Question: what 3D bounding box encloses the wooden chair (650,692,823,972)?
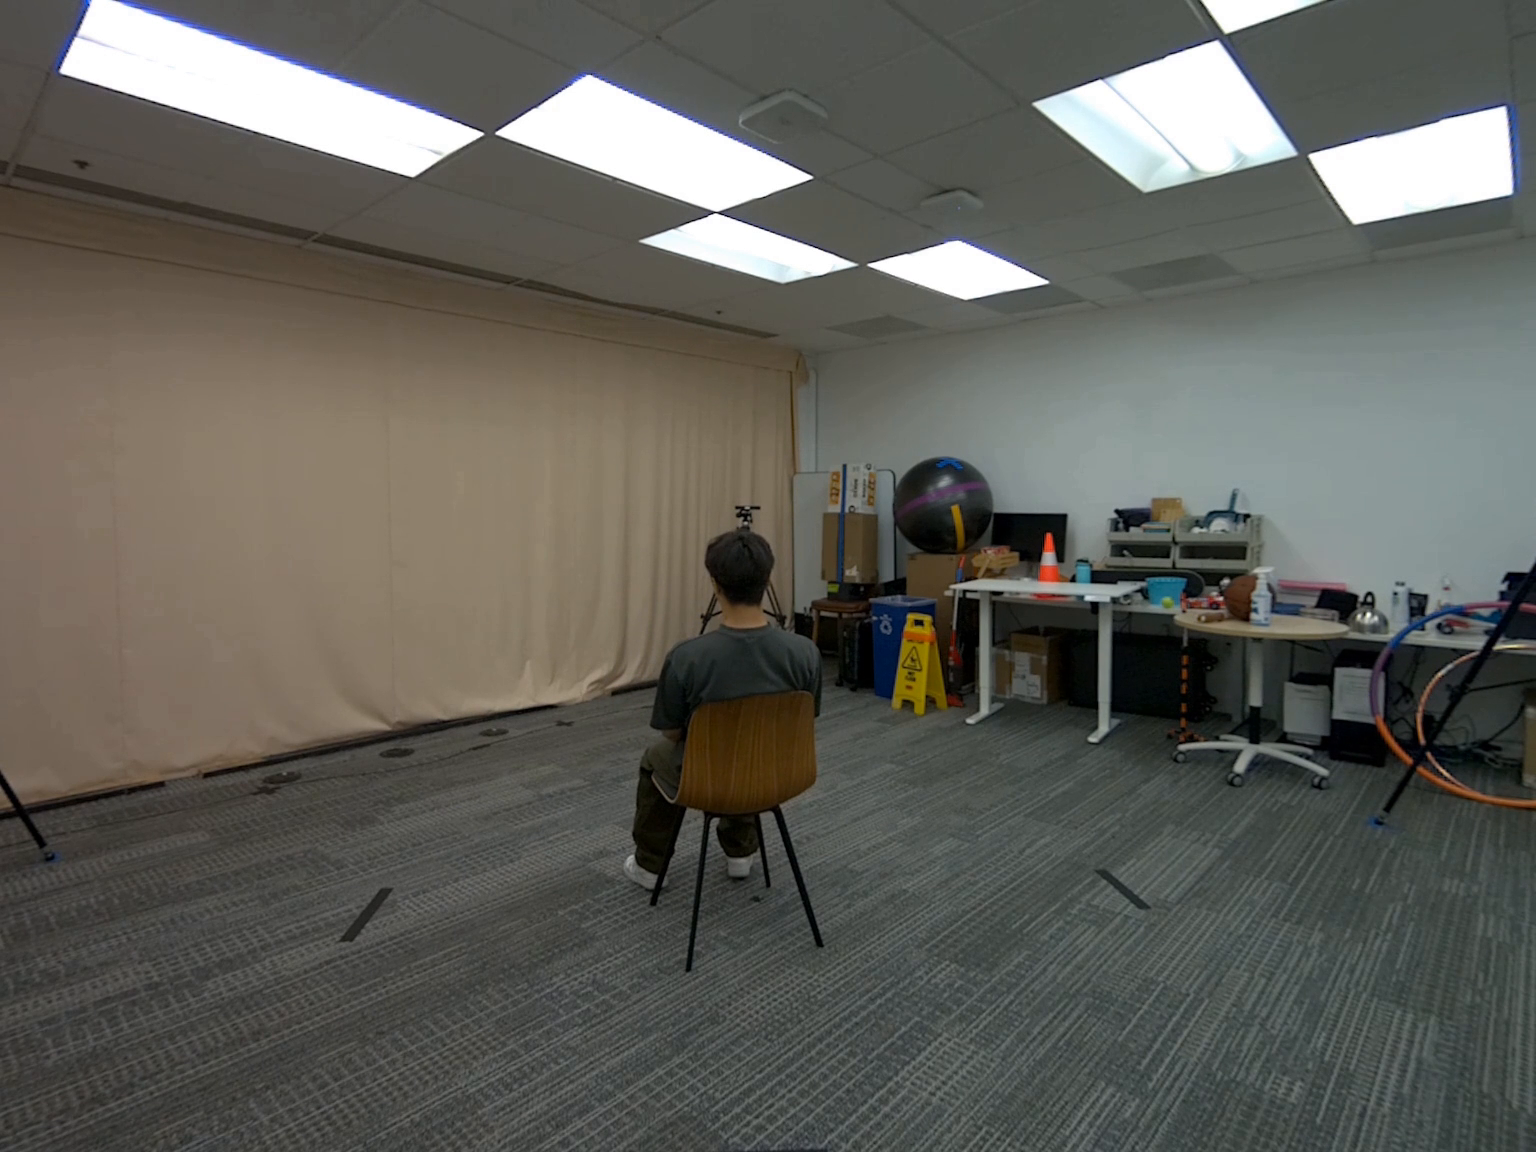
[{"bbox_3d":[-0.117,0.729,2.773,0.469,0.873,0.536,-2,8,-20],"label":"wooden chair"}]
